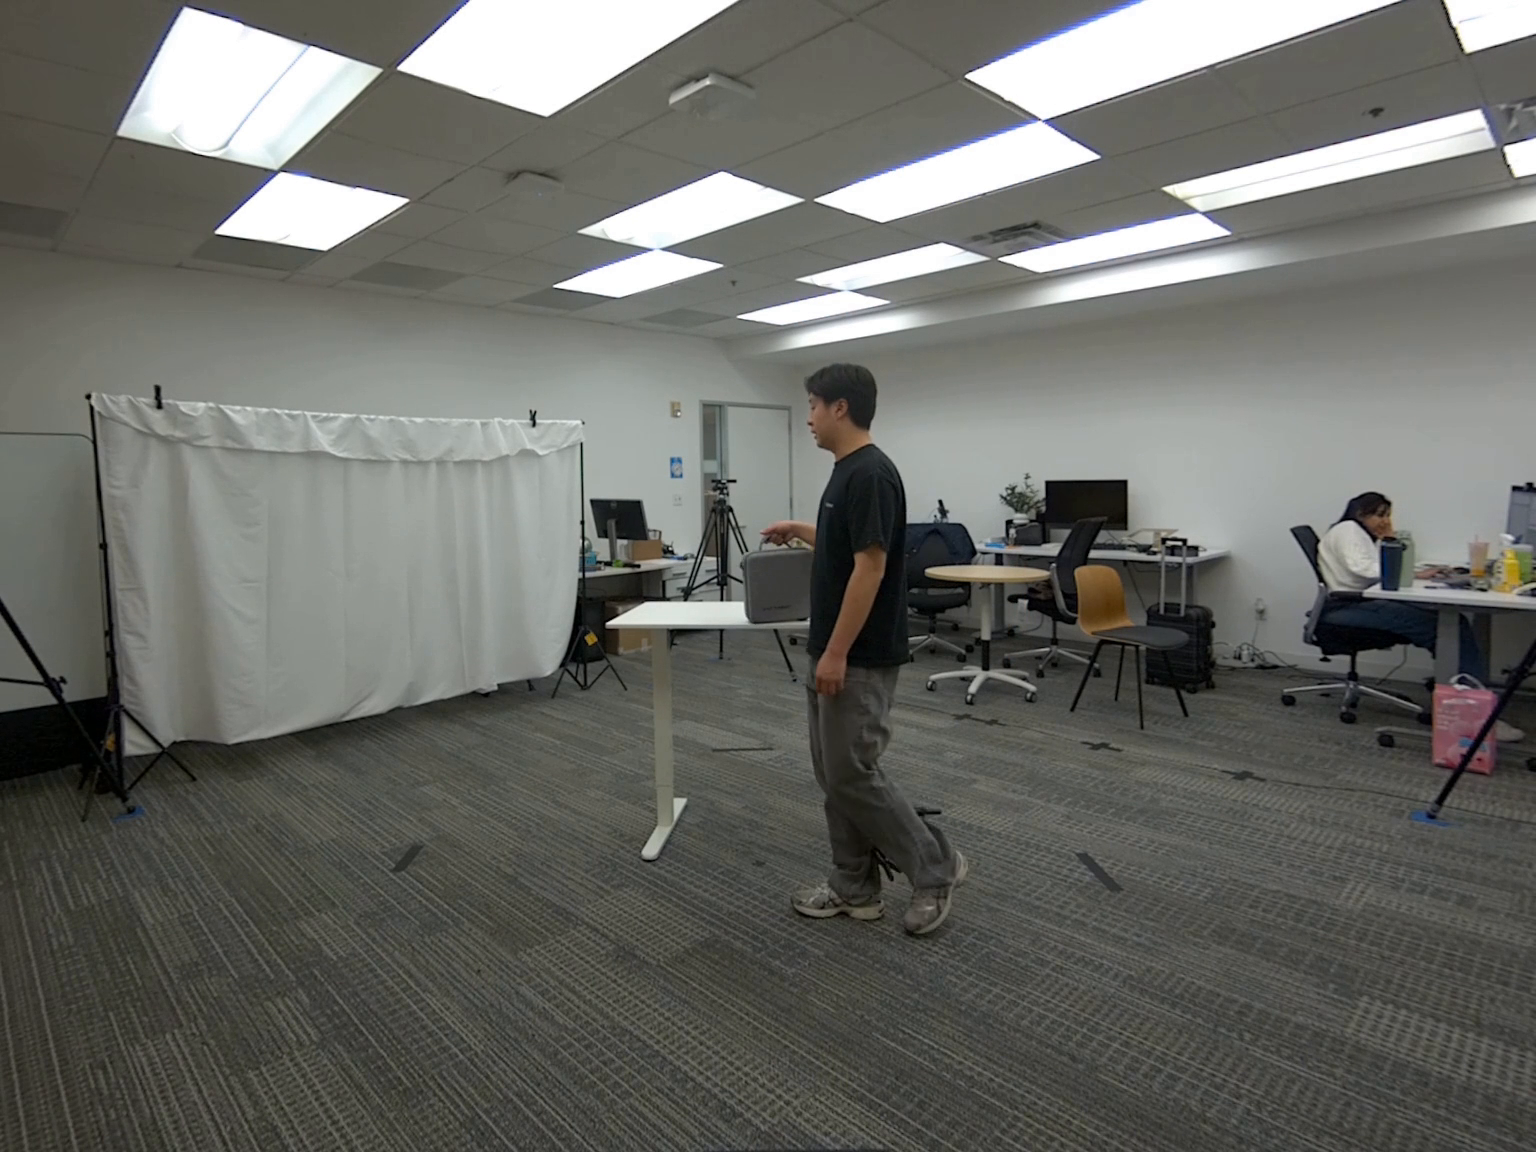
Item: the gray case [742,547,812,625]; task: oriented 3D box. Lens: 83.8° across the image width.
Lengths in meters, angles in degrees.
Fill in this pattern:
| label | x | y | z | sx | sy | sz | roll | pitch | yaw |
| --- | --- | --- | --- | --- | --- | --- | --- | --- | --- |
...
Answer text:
| label | x | y | z | sx | sy | sz | roll | pitch | yaw |
| --- | --- | --- | --- | --- | --- | --- | --- | --- | --- |
| gray case | 0.039 | 0.018 | 3.065 | 0.260 | 0.286 | 0.105 | -4 | 5 | -13 |
